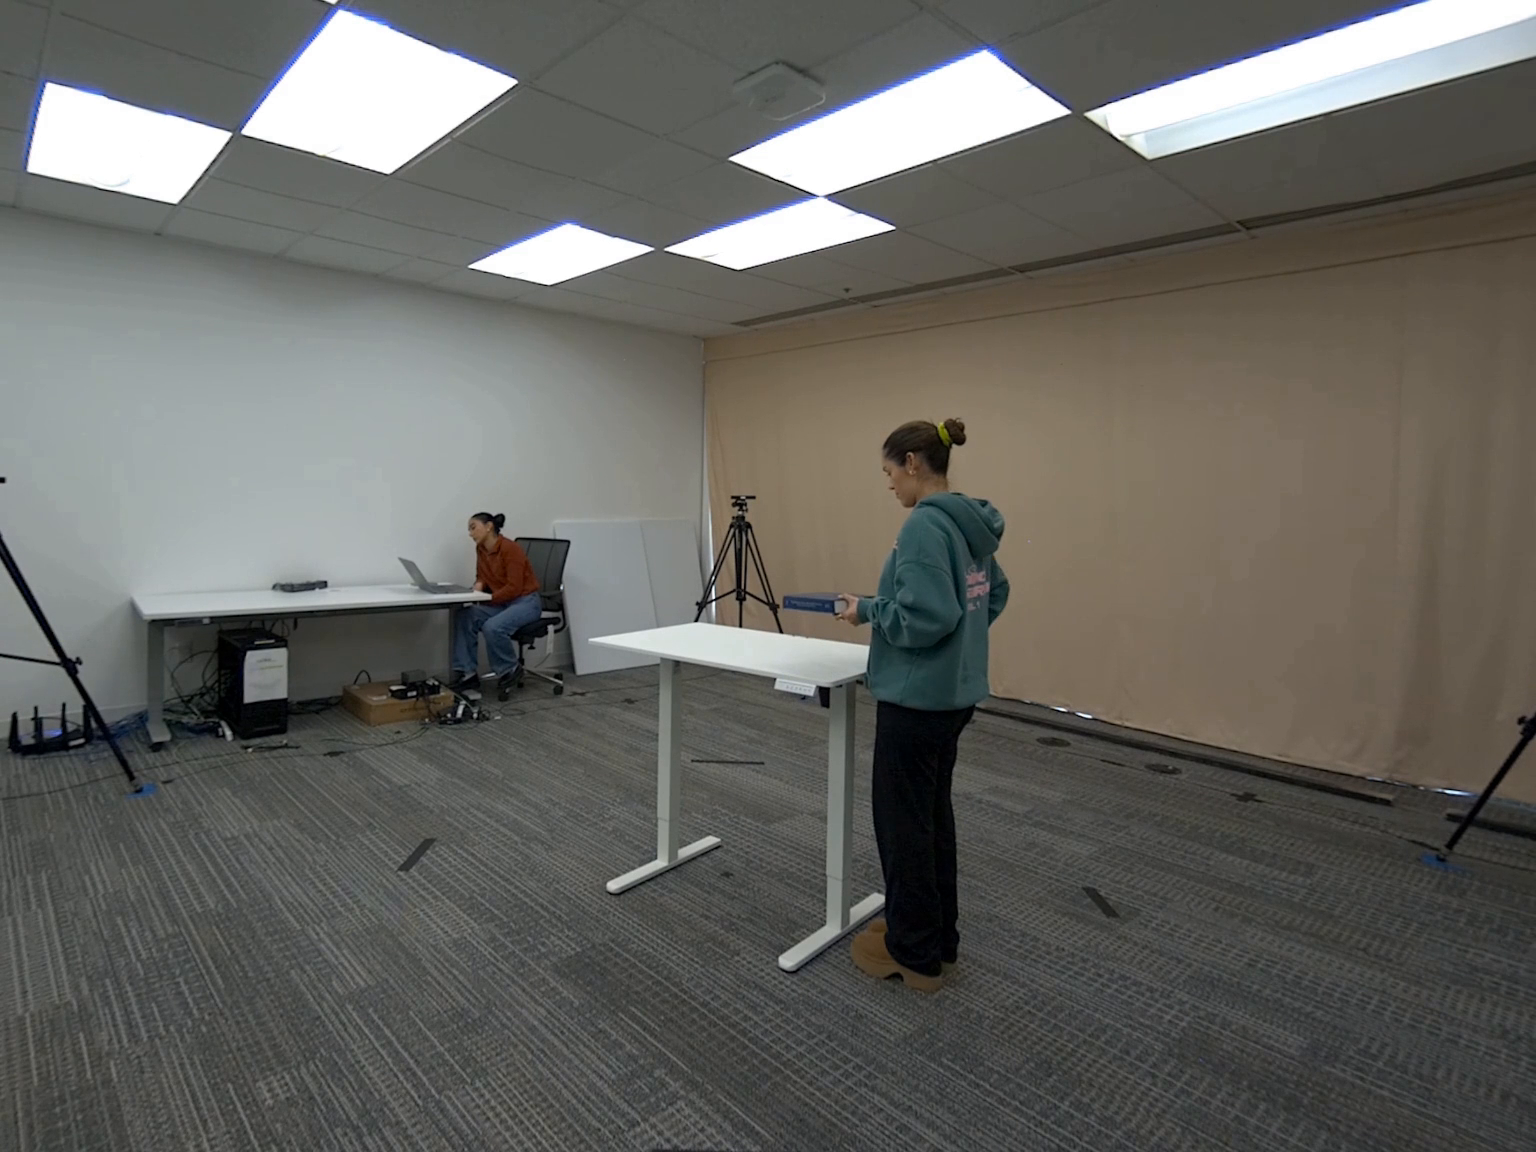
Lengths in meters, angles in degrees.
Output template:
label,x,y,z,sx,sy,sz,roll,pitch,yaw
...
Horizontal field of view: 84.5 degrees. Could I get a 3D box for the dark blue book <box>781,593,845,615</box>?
label,x,y,z,sx,sy,sz,roll,pitch,yaw
dark blue book,0.174,0.085,2.557,0.160,0.045,0.251,-2,2,-40
